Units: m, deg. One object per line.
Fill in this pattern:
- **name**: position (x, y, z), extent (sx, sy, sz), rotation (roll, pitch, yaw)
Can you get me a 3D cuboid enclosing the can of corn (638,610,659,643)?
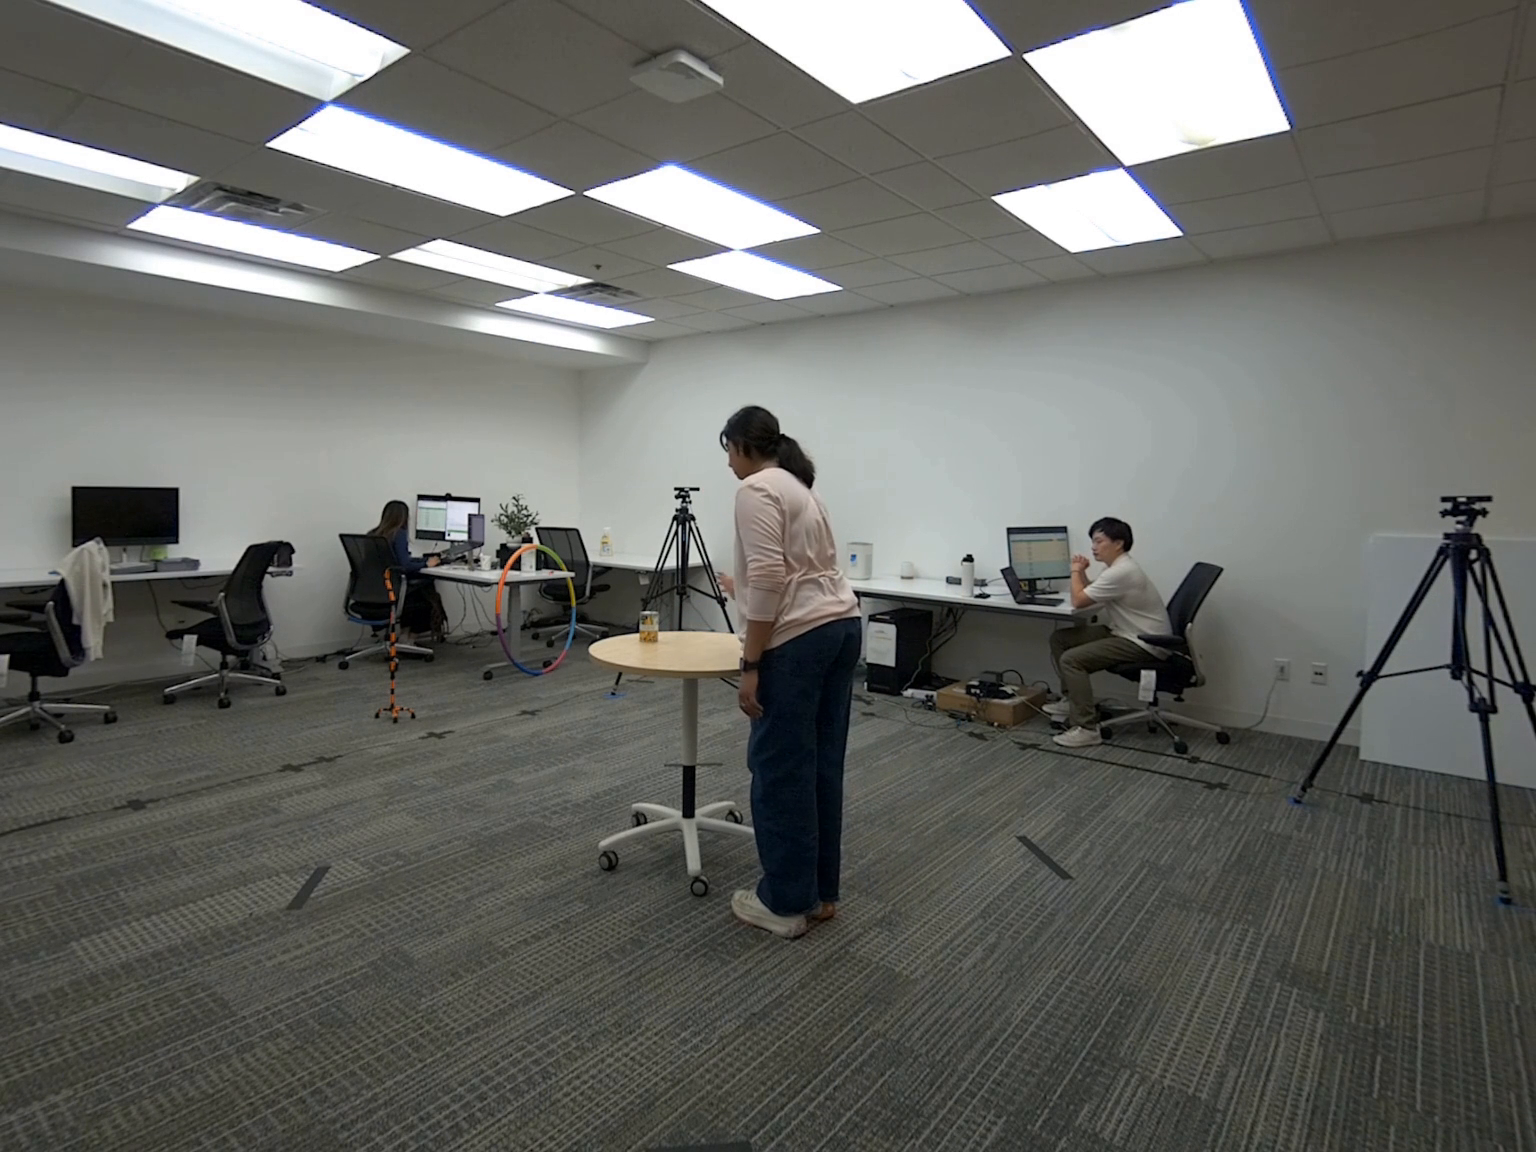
- **can of corn**: position (-0.484, 0.197, 3.349), extent (0.074, 0.111, 0.074), rotation (2, 3, -2)
